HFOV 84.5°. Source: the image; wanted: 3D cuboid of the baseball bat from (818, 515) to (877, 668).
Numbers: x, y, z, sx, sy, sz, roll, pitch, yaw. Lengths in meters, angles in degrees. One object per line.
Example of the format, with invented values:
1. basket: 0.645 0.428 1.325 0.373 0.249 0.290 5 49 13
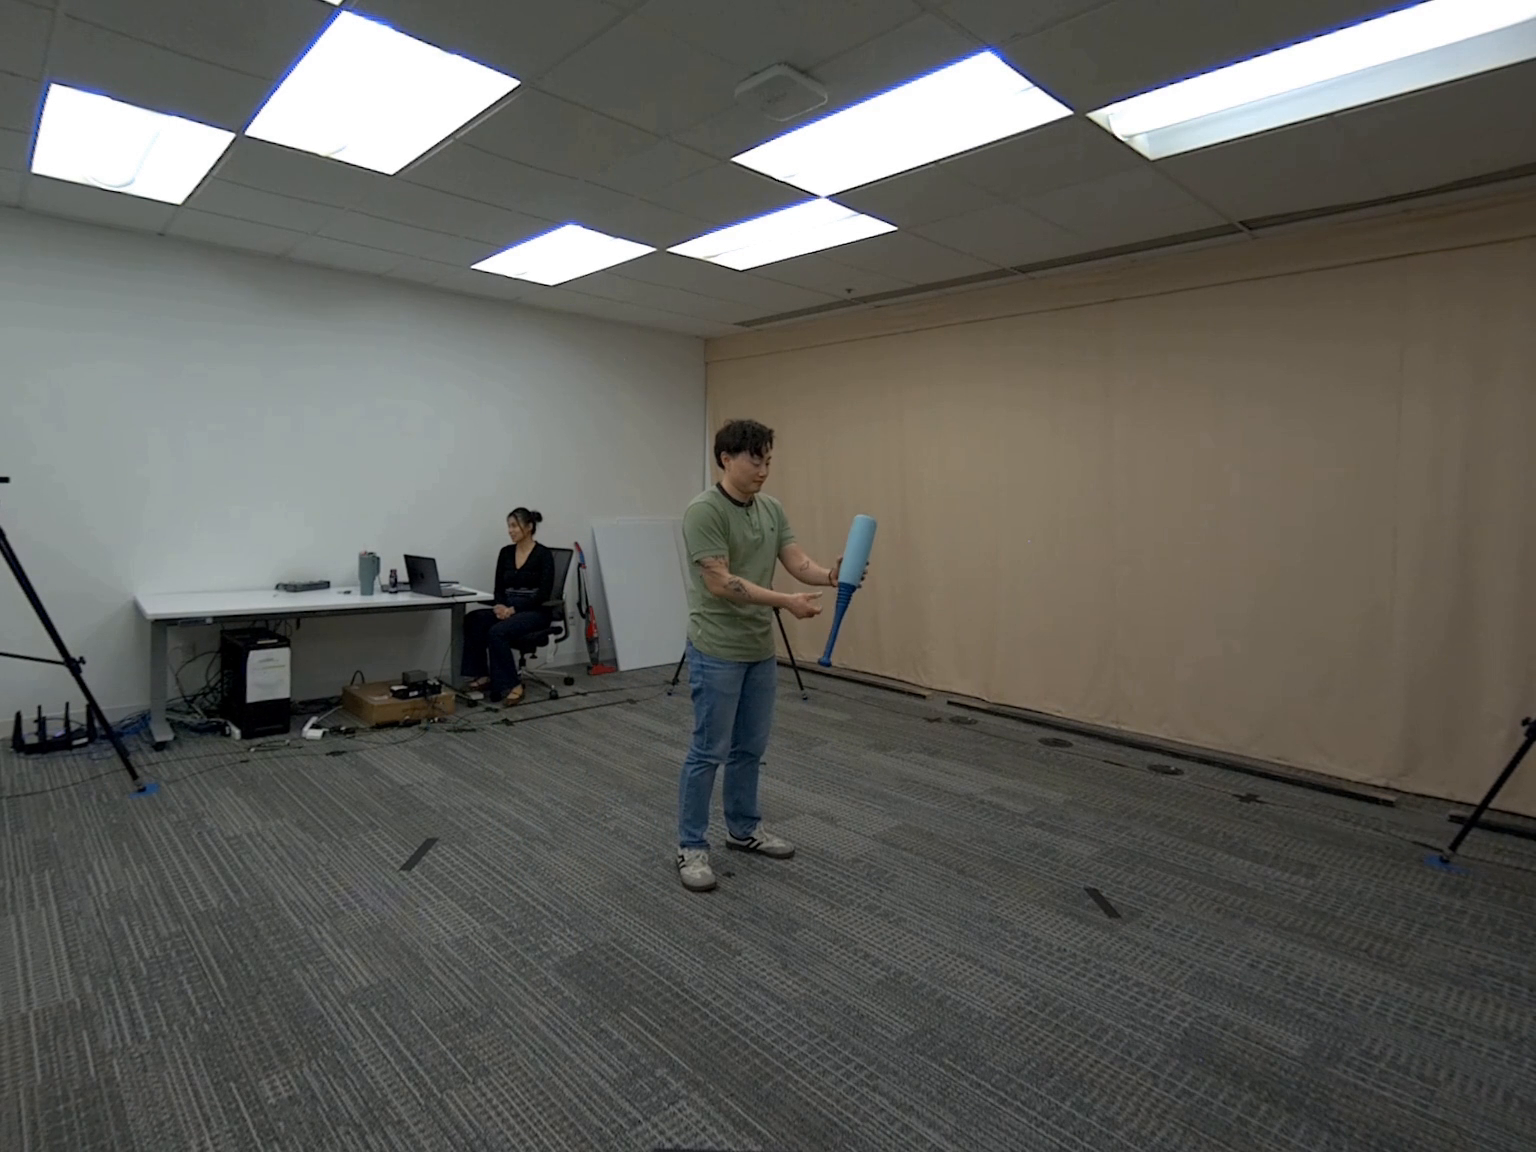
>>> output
1. baseball bat: 0.260 0.056 2.900 0.089 0.546 0.088 17 -11 2
